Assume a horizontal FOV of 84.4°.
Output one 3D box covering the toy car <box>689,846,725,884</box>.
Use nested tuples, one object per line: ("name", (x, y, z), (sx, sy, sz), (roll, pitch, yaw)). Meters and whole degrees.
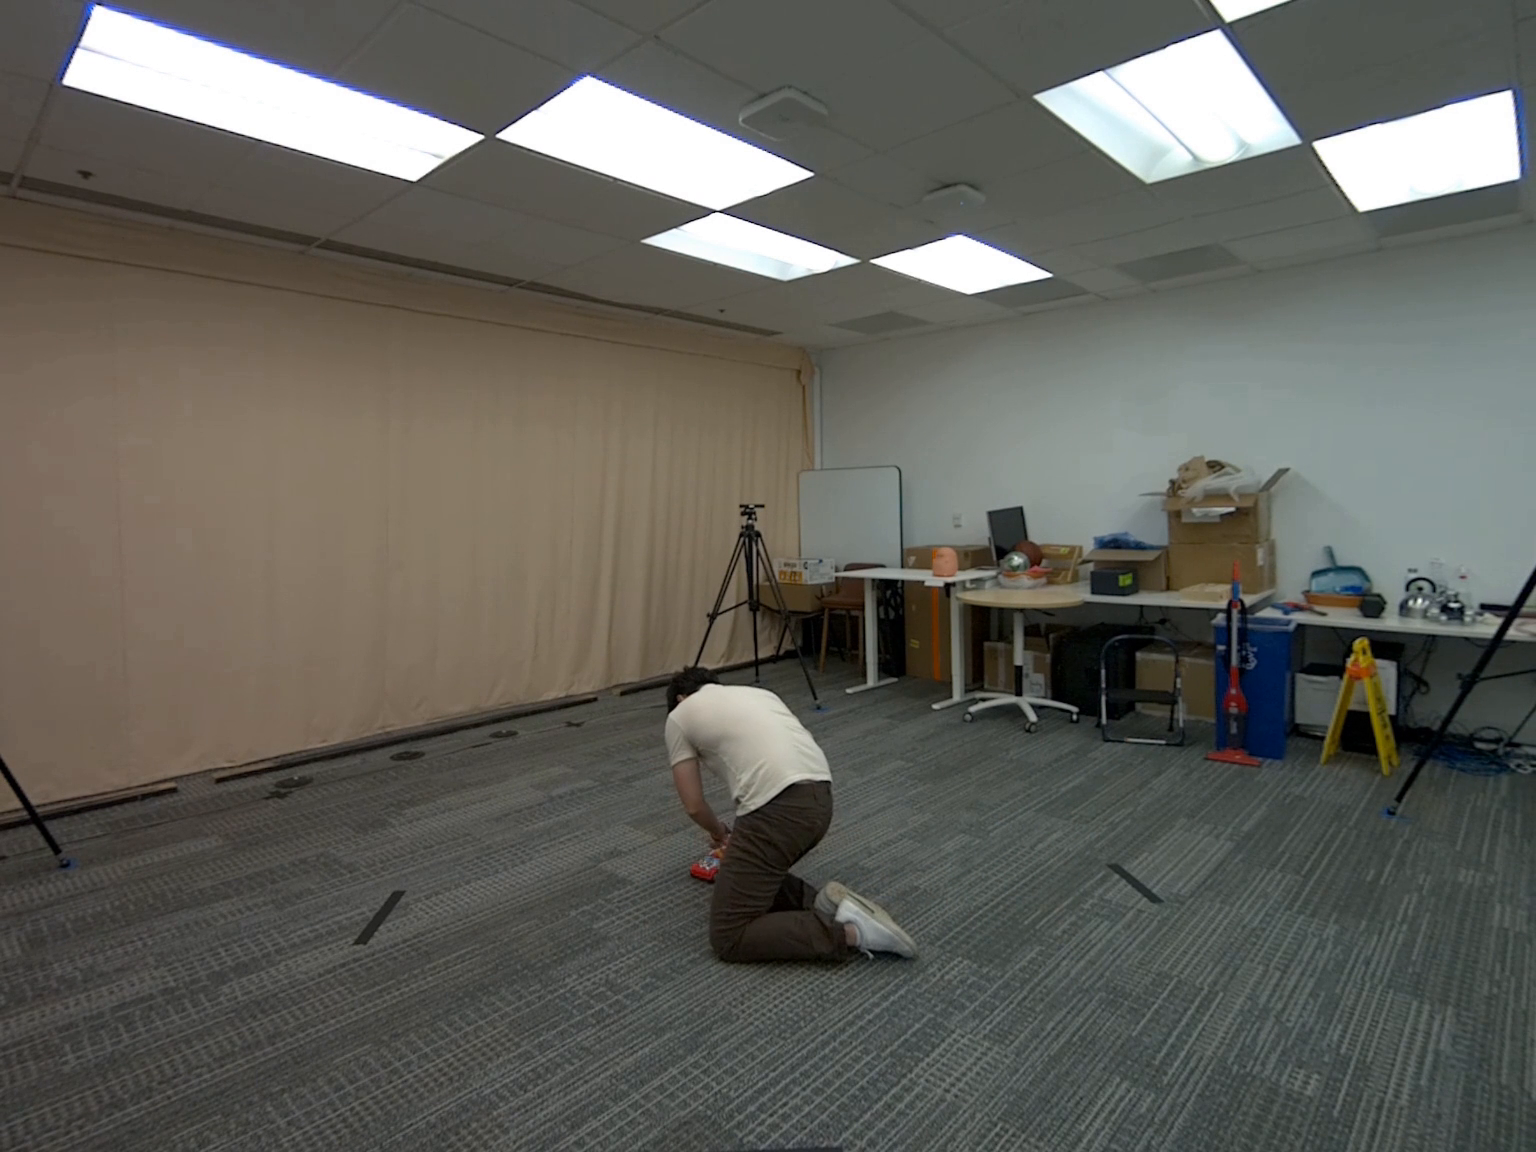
("toy car", (-0.185, 1.095, 3.213), (0.134, 0.082, 0.249), (1, 16, 35))
